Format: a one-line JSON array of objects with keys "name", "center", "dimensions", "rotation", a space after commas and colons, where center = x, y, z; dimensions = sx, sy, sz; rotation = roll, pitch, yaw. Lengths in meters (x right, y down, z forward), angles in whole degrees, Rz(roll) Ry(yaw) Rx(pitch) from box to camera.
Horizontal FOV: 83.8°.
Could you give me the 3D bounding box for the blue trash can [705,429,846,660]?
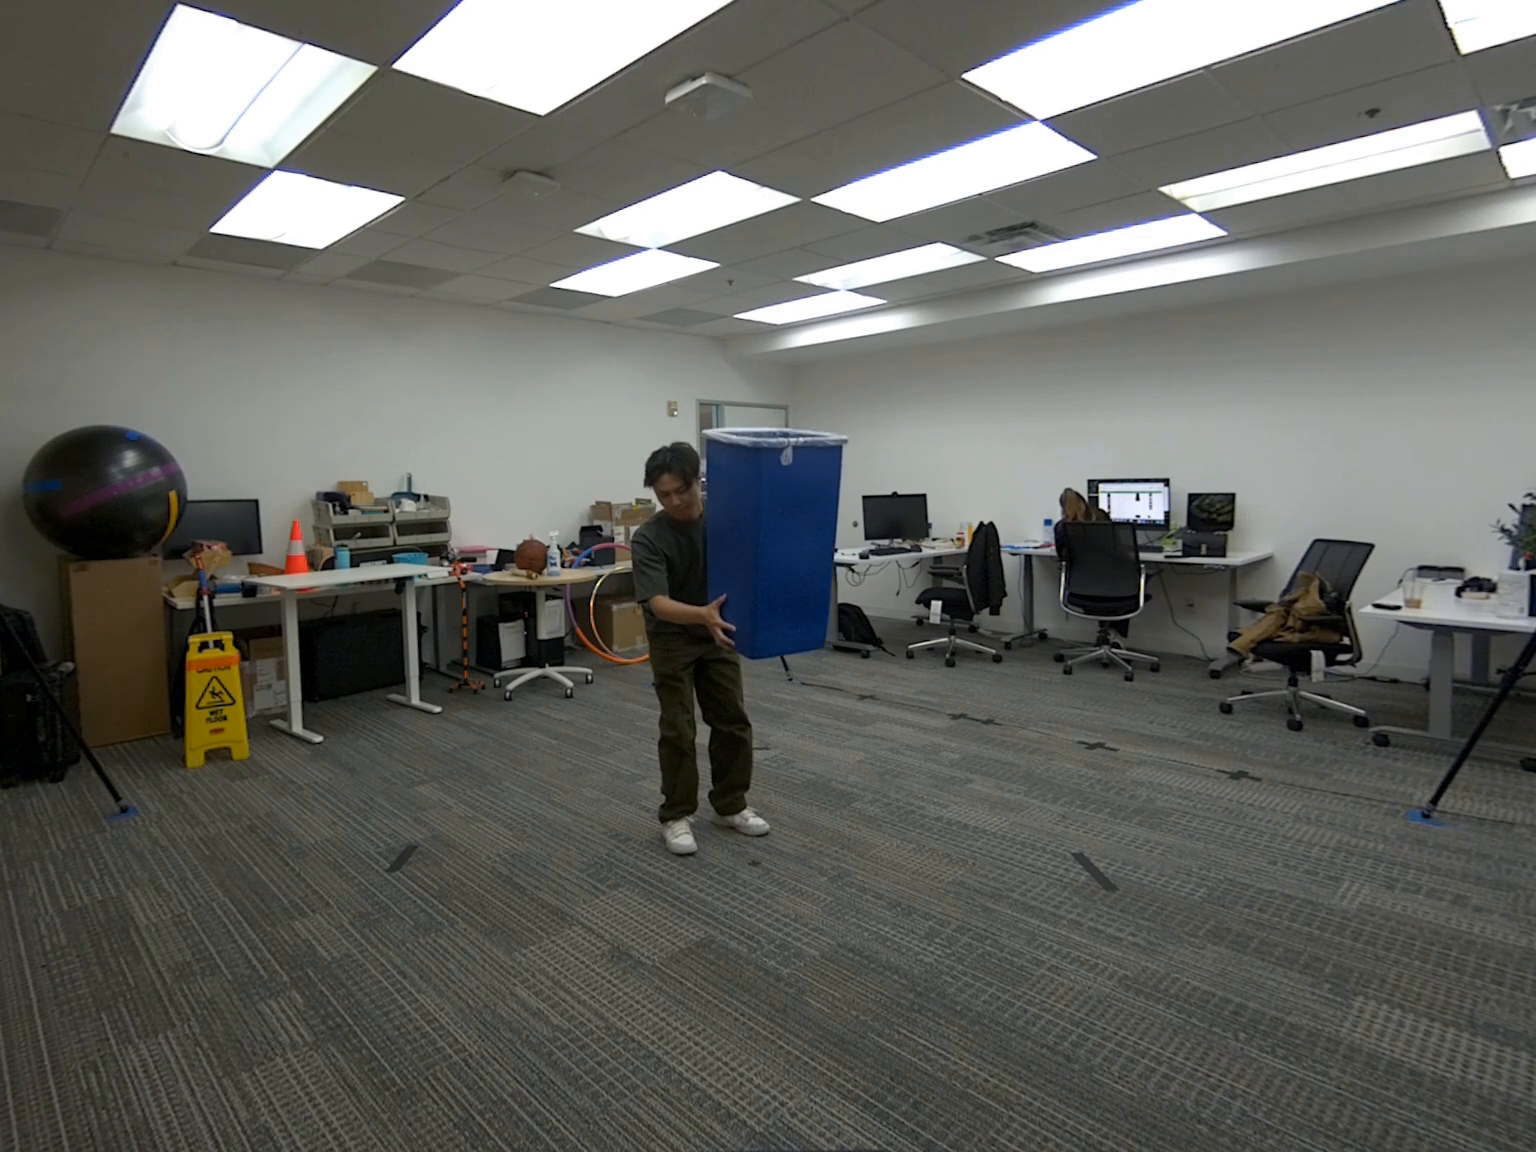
[{"name": "blue trash can", "center": [0.017, -0.127, 2.878], "dimensions": [0.365, 0.706, 0.391], "rotation": [-6, 13, -33]}]
